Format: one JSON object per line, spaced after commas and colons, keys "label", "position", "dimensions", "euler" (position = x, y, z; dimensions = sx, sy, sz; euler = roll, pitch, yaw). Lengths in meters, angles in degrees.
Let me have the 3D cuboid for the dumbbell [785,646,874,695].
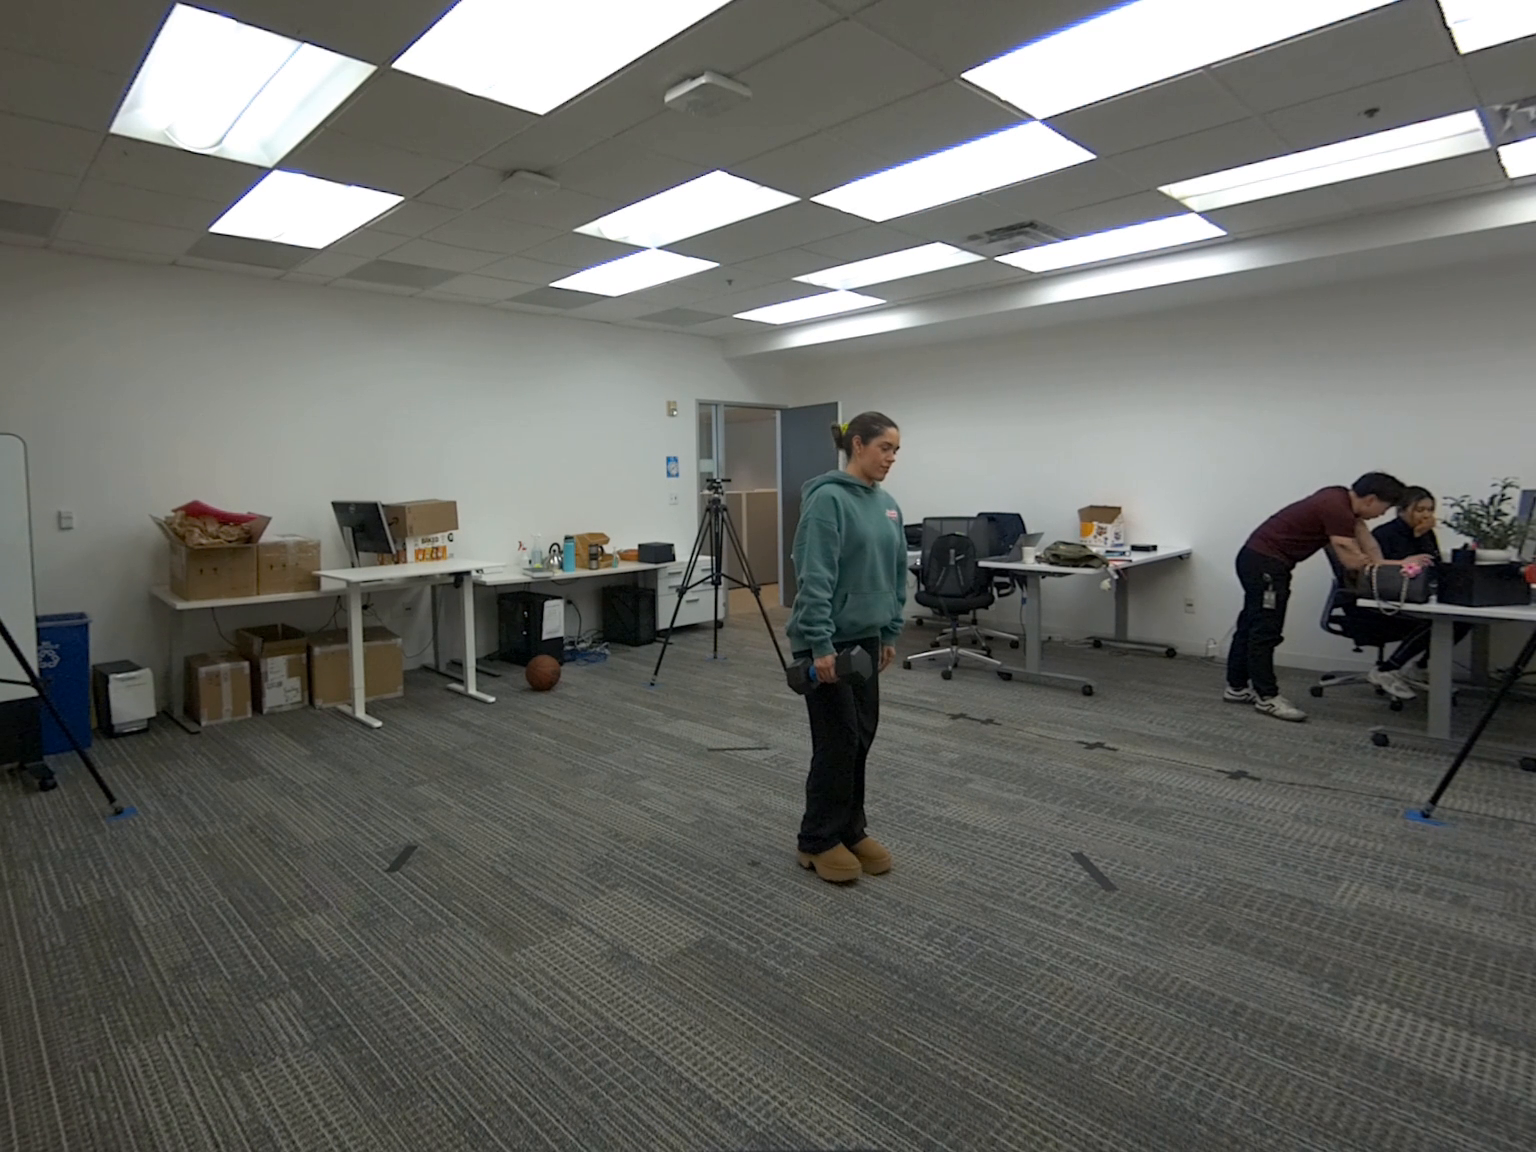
{"label": "dumbbell", "position": [0.201, 0.322, 2.843], "dimensions": [0.299, 0.110, 0.119], "euler": [-18, -49, 41]}
